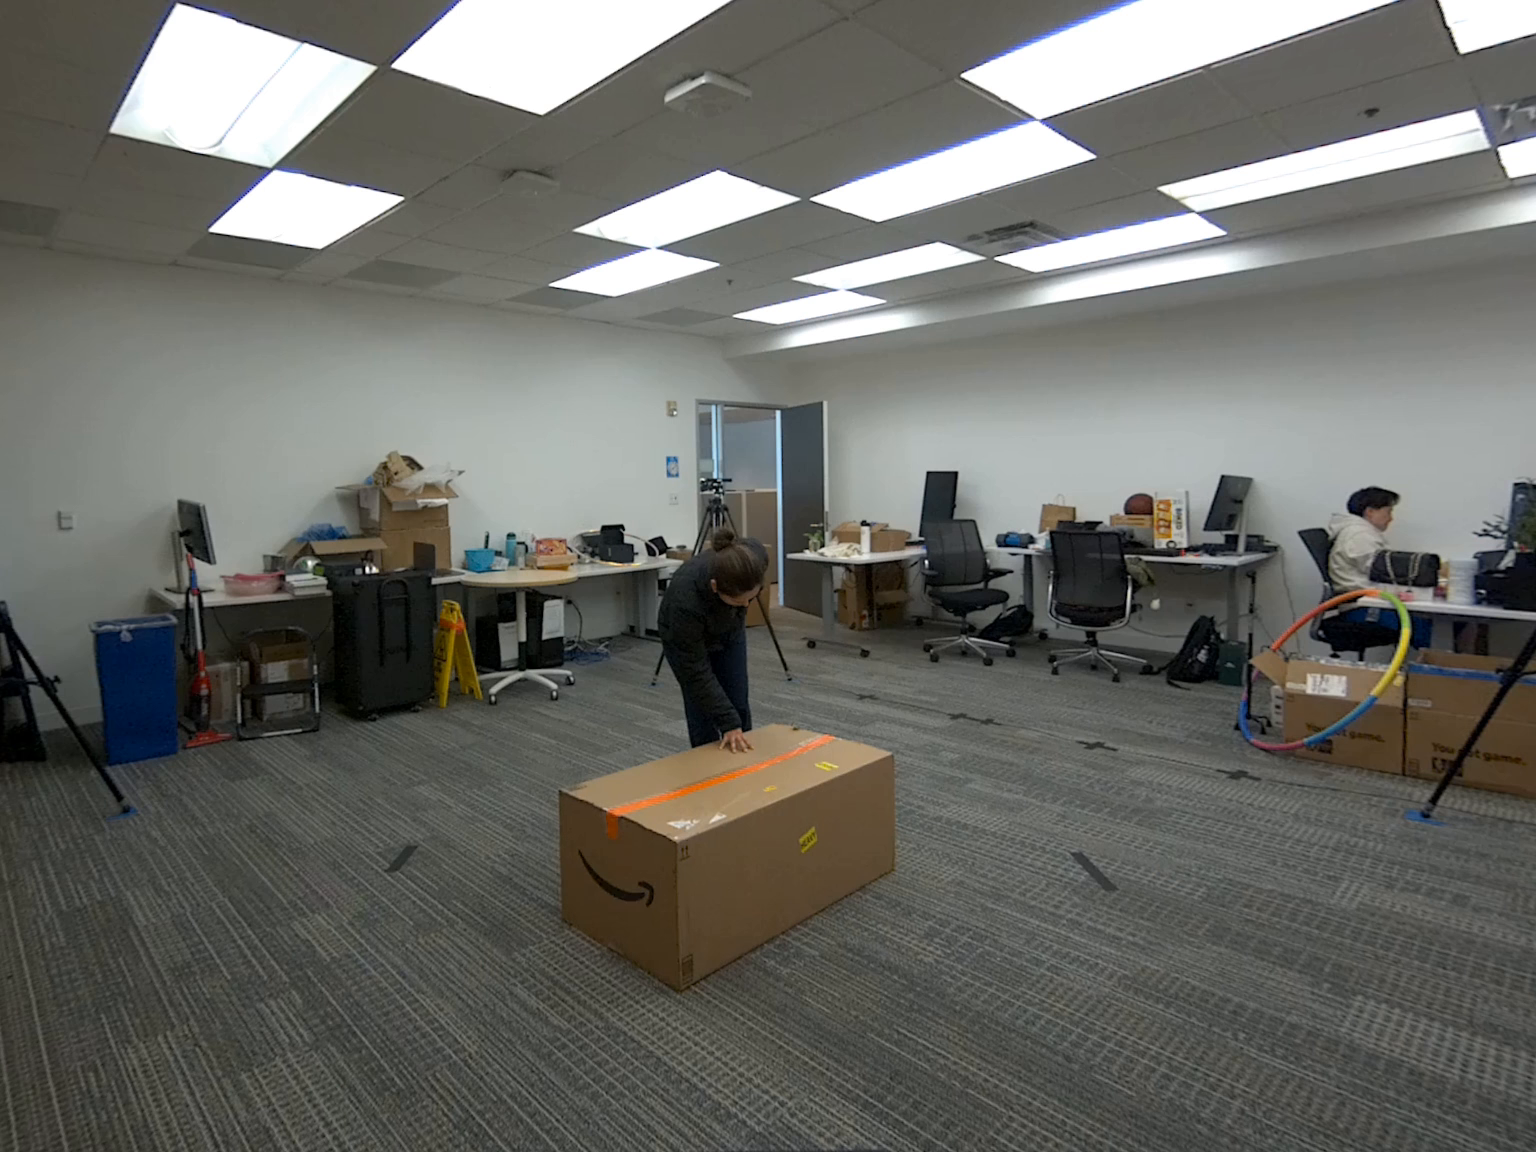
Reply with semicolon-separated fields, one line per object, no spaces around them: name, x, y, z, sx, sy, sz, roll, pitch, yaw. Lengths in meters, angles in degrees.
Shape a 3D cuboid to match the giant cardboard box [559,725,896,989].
giant cardboard box;-0.108;0.863;2.885;0.601;0.445;1.001;2;7;44
